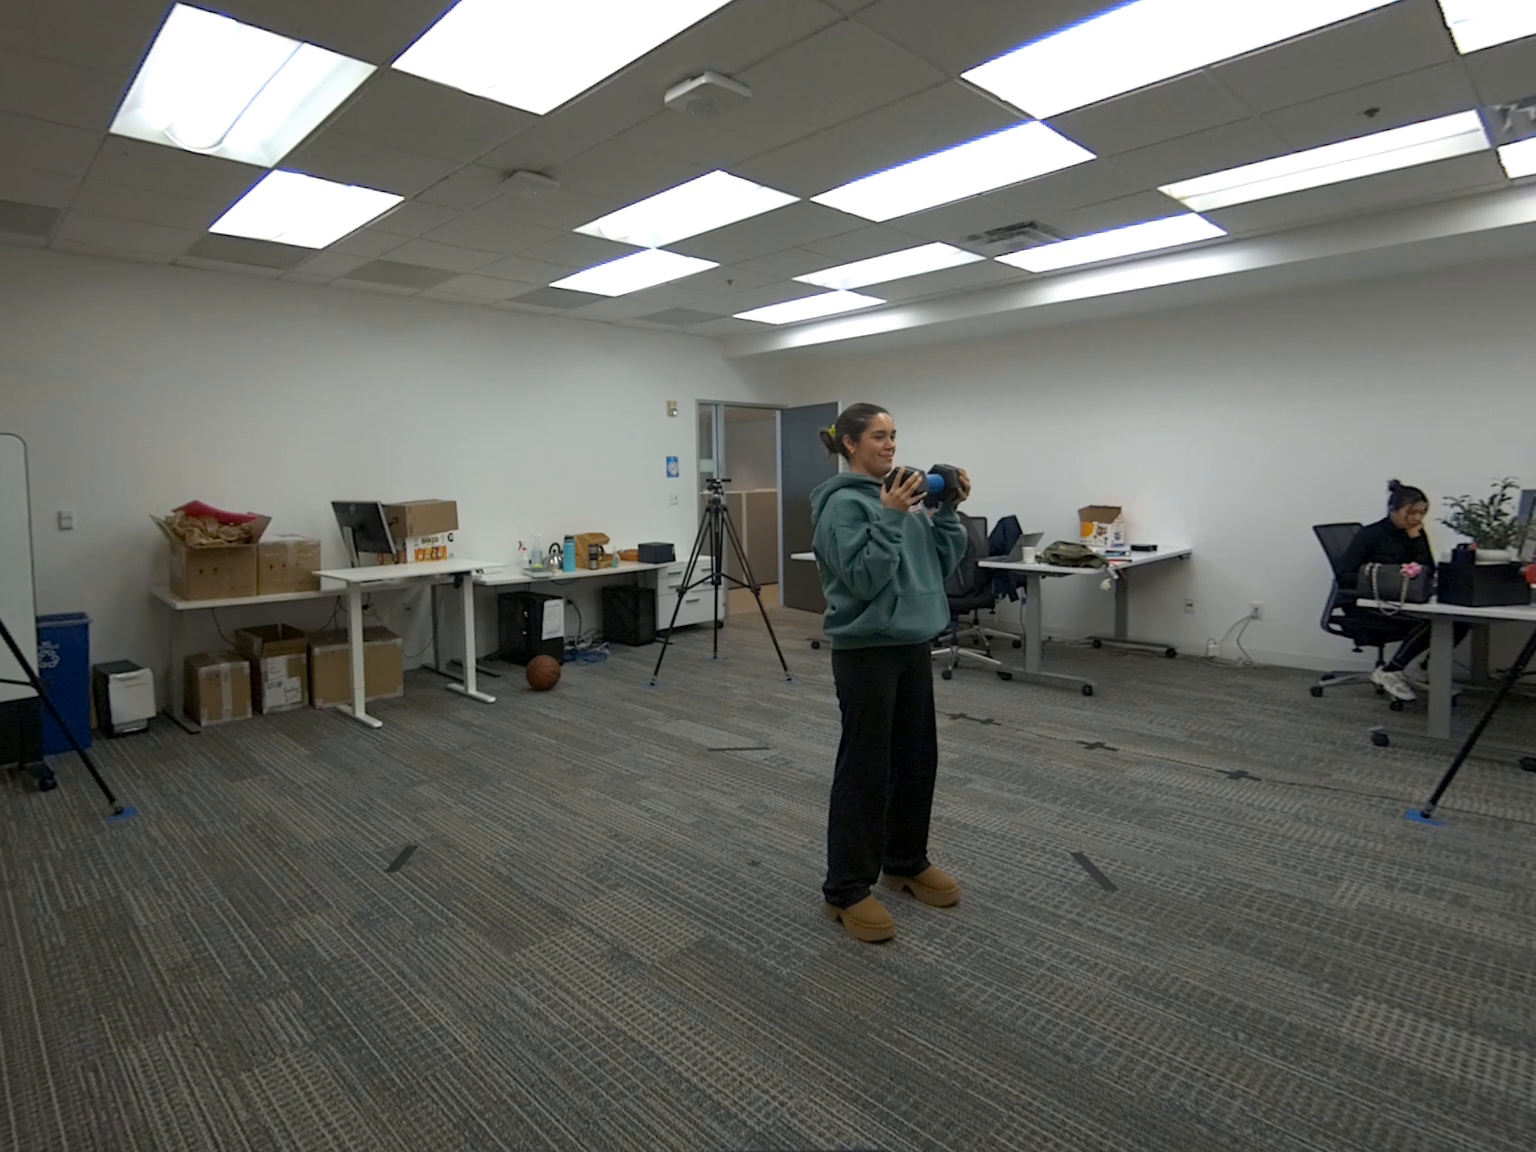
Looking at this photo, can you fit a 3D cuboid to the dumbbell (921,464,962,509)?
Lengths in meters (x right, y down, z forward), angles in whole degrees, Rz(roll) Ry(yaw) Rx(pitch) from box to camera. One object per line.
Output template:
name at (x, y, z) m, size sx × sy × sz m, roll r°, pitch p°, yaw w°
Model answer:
dumbbell at (0.477, -0.277, 2.607) m, size 0.286 × 0.112 × 0.122 m, roll -9°, pitch -33°, yaw -45°
